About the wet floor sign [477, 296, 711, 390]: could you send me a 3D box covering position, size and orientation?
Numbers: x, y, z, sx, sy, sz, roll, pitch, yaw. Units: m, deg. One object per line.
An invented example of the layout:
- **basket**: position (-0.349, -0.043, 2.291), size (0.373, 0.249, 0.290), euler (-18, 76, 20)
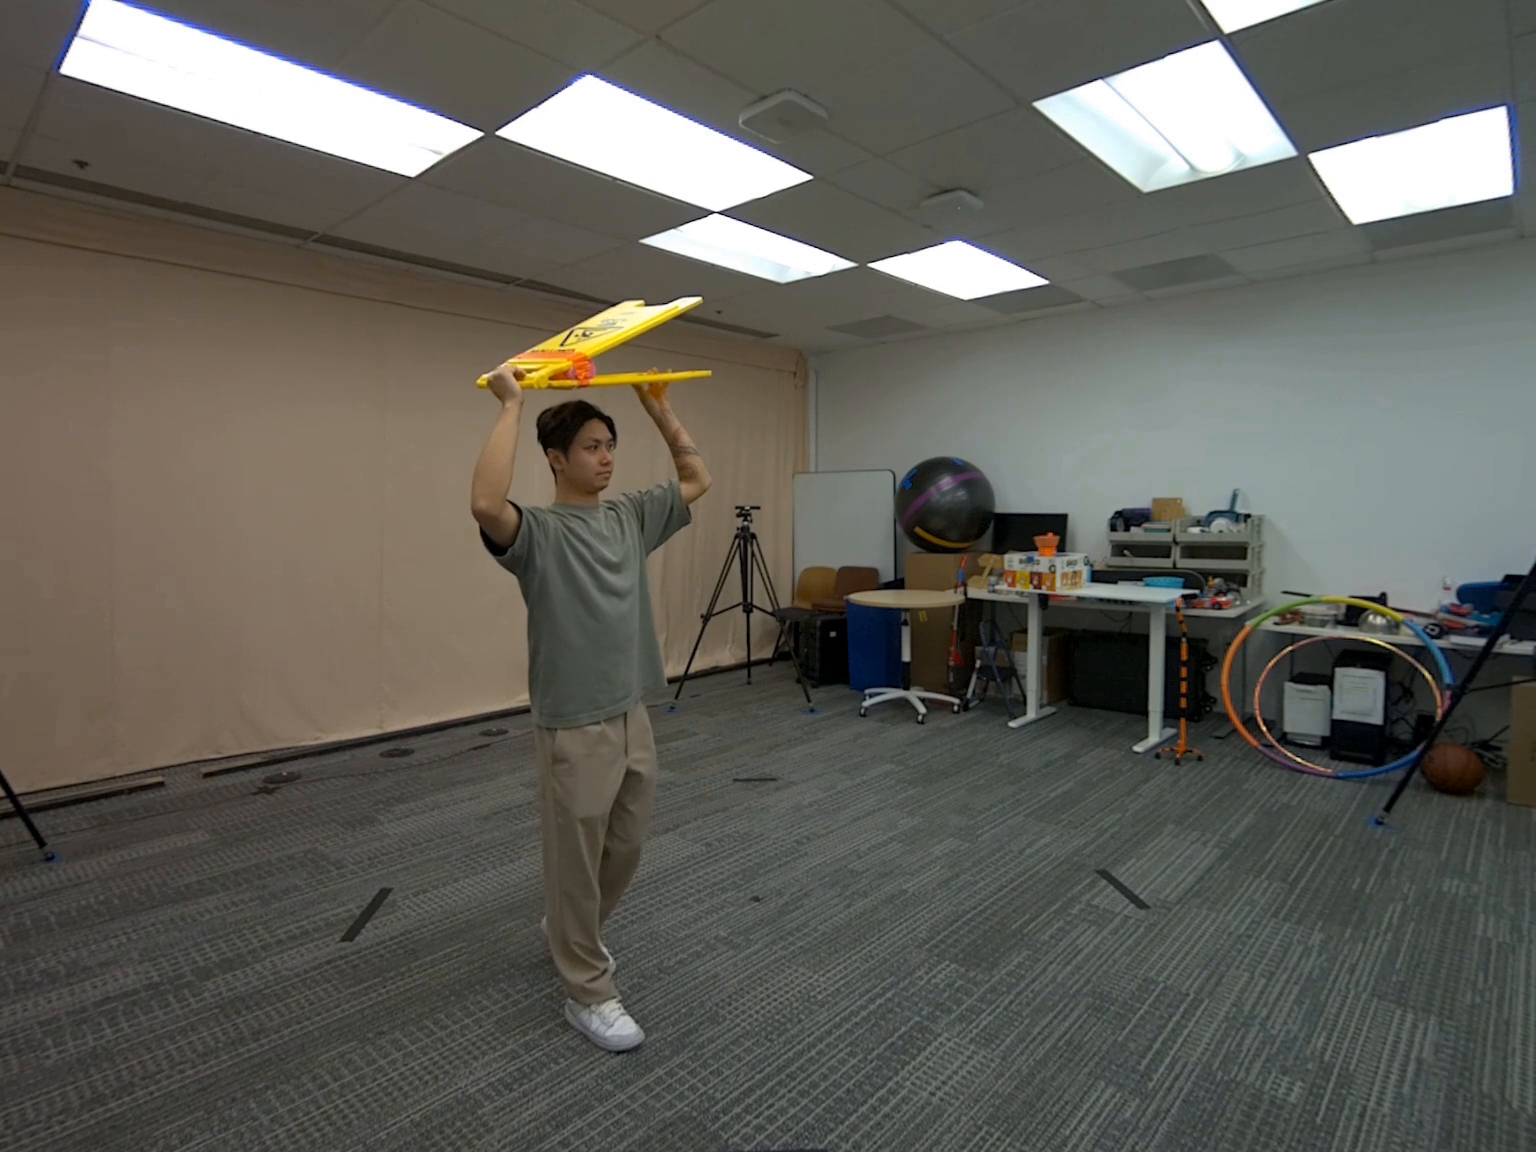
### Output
- **wet floor sign**: position (-0.441, -0.561, 2.183), size (0.291, 0.285, 0.636), euler (7, 25, 30)
